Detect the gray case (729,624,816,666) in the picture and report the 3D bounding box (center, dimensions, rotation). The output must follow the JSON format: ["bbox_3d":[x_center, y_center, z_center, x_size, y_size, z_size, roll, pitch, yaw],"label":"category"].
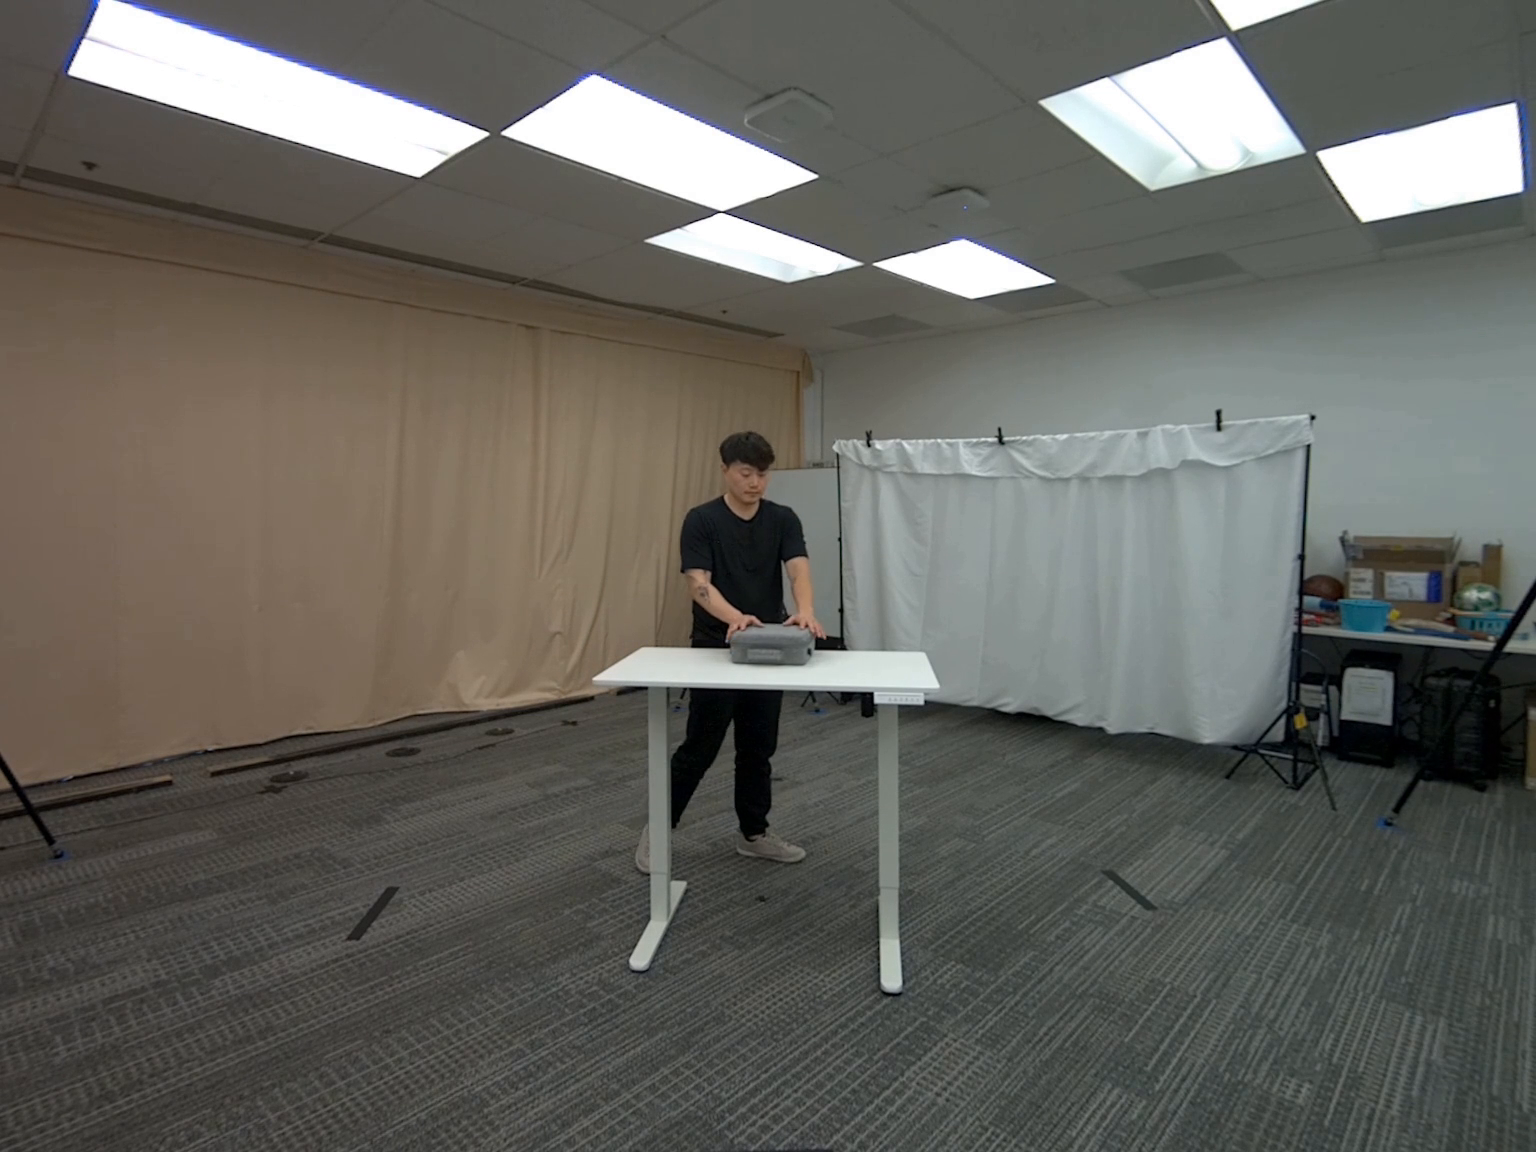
[{"bbox_3d":[0.020,0.225,2.798,0.261,0.104,0.257,1,4,12],"label":"gray case"}]
